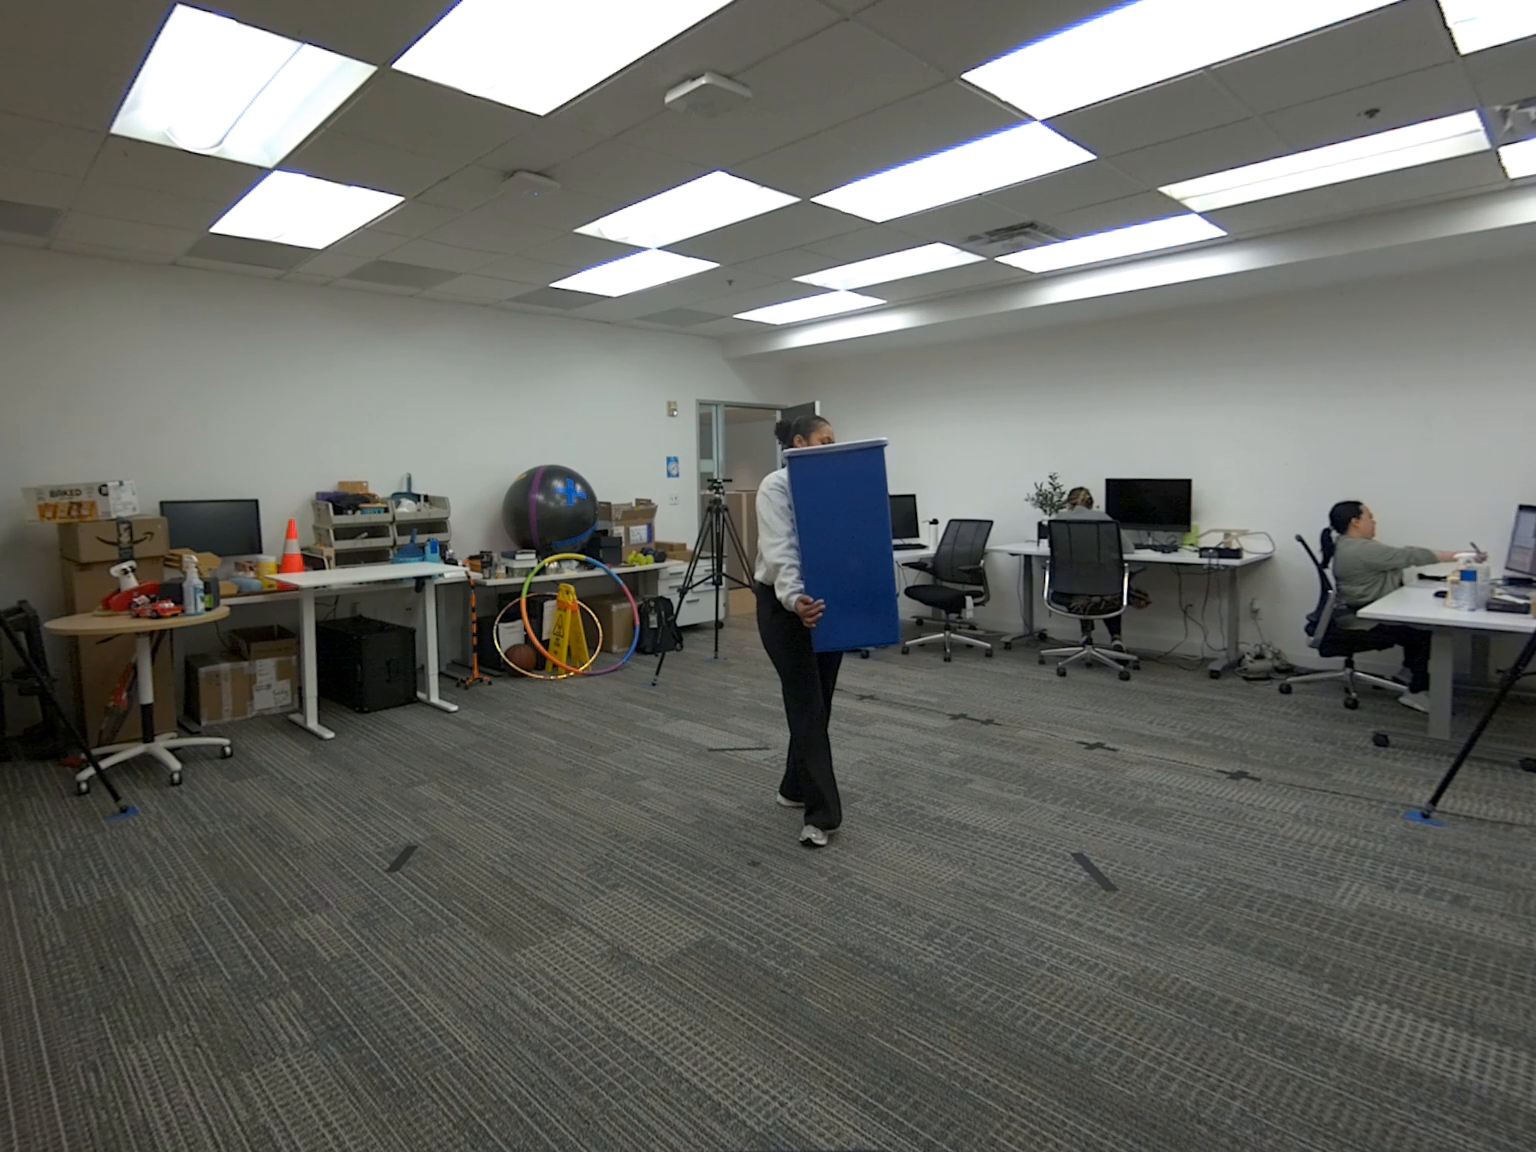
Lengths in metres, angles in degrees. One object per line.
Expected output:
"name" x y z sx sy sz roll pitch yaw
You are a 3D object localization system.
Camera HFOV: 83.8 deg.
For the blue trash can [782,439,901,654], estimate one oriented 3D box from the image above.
"blue trash can" 0.268 -0.112 3.112 0.376 0.714 0.376 -5 0 4
